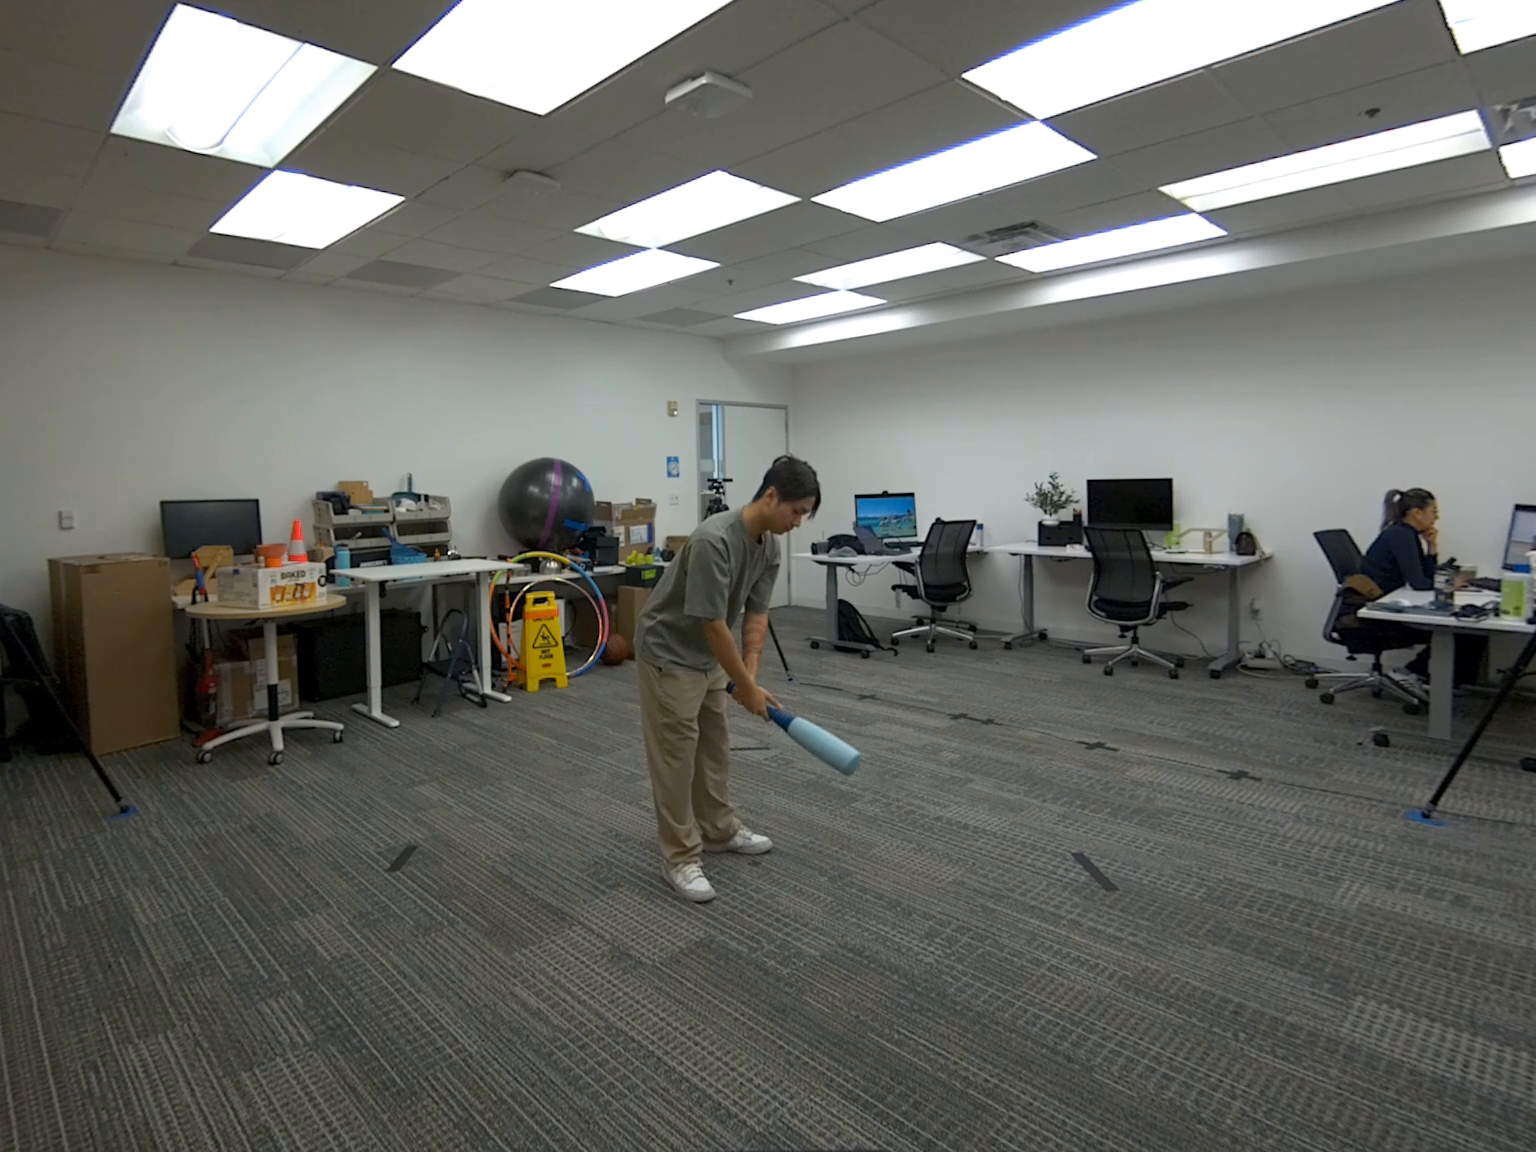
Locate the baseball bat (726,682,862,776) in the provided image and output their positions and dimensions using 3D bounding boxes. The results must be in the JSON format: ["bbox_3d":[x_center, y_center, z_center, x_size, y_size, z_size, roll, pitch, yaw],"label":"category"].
[{"bbox_3d":[0.078,0.486,2.835,0.563,0.088,0.087,27,21,35],"label":"baseball bat"}]
